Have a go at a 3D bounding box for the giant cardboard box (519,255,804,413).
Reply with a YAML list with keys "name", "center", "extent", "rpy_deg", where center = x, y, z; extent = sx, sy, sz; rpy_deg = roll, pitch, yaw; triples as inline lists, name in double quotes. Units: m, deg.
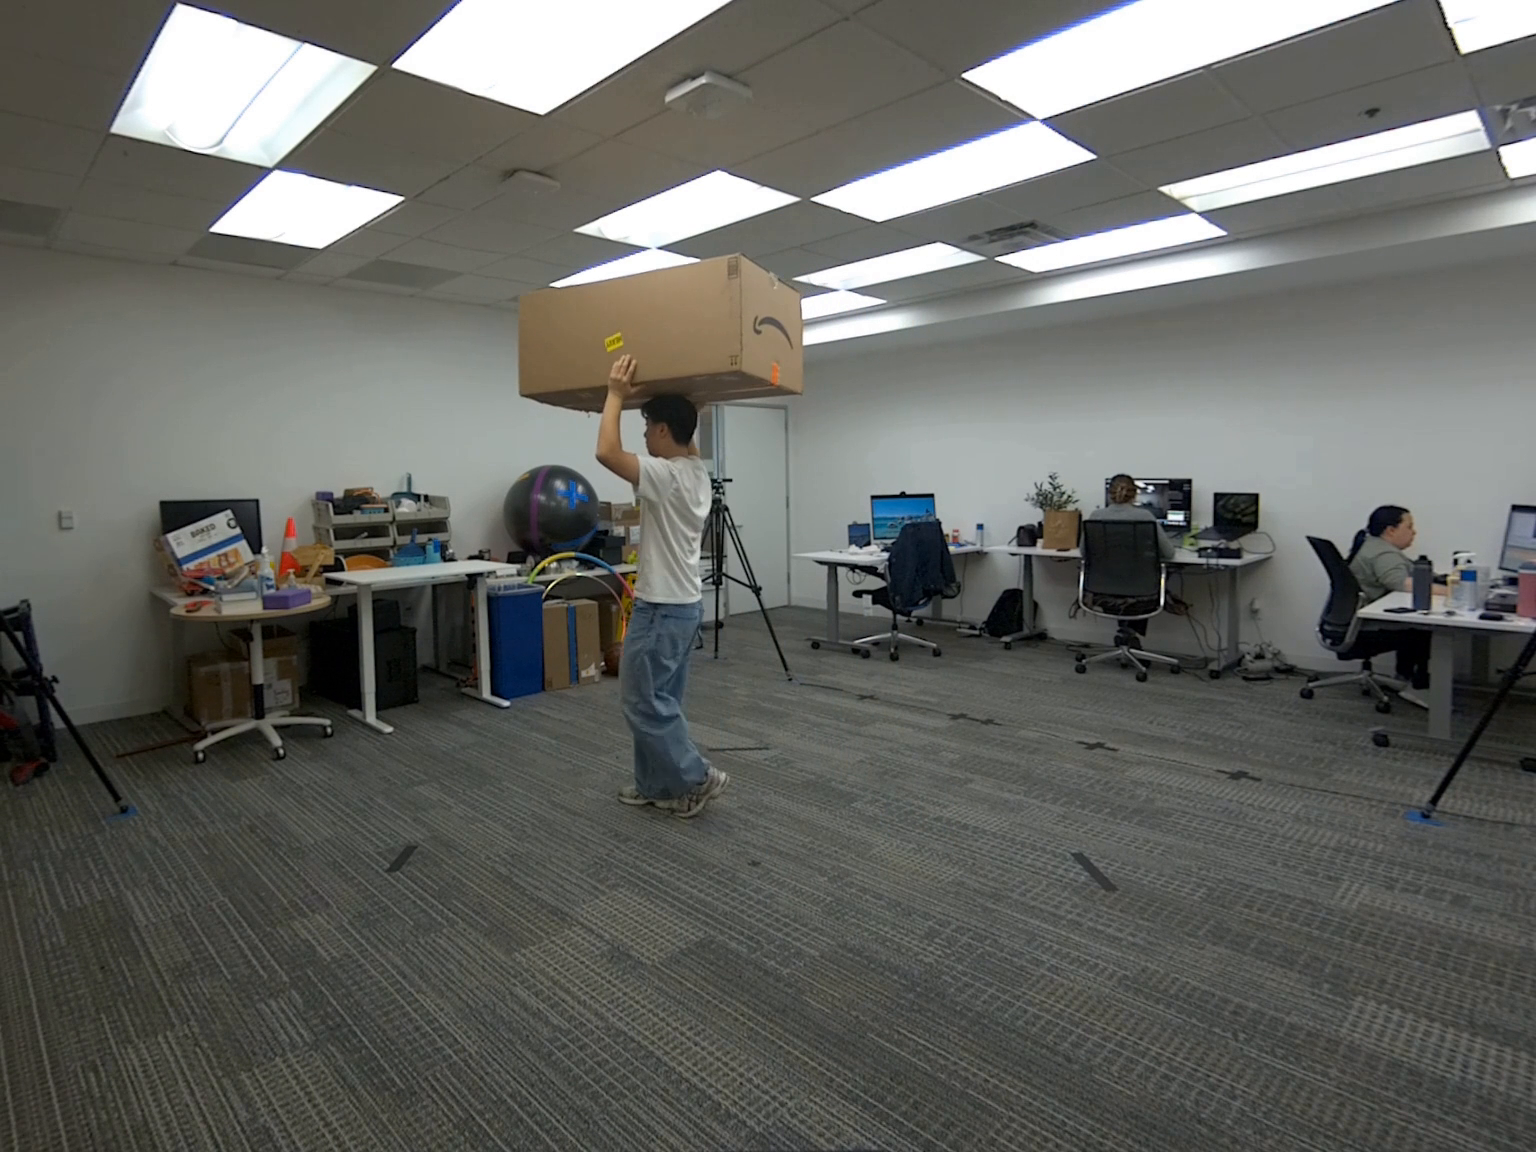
- name: "giant cardboard box"
  center: [-0.432, -0.948, 3.508]
  extent: [1.051, 0.426, 0.564]
  rpy_deg: [1, 2, 27]
